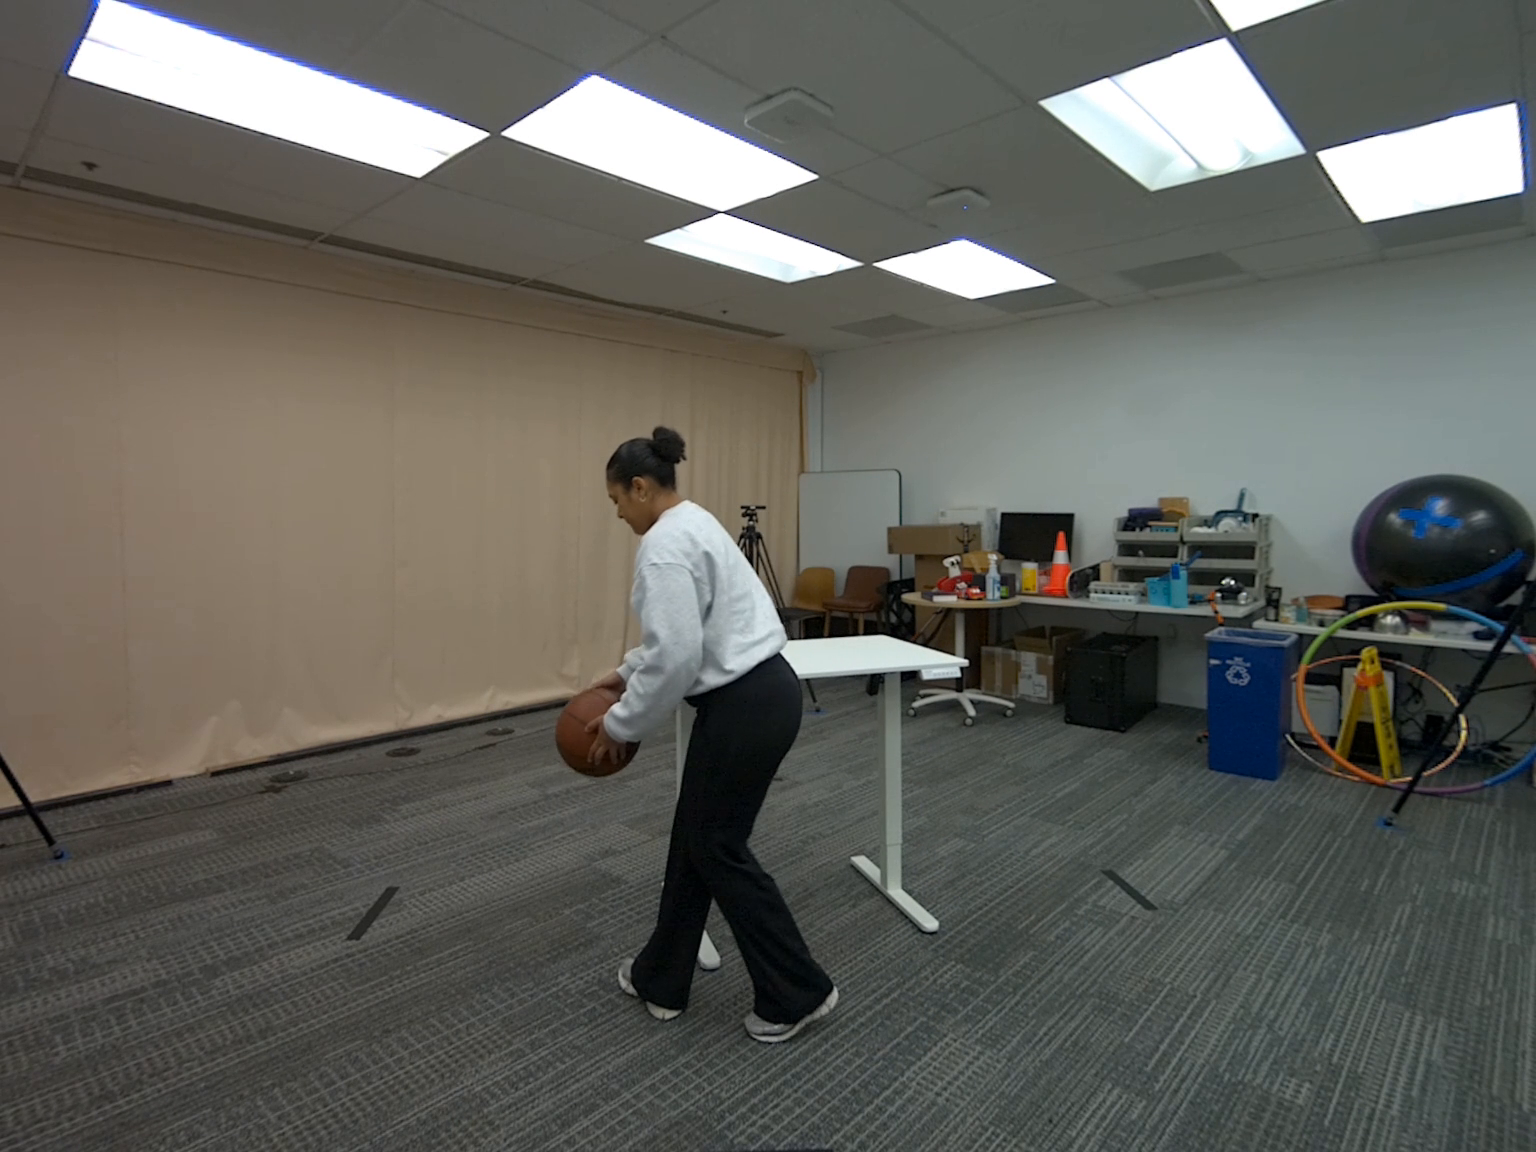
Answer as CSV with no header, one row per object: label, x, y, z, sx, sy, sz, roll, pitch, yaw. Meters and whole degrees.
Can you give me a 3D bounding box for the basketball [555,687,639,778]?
basketball,-0.451,0.434,2.323,0.236,0.235,0.237,0,4,-2
